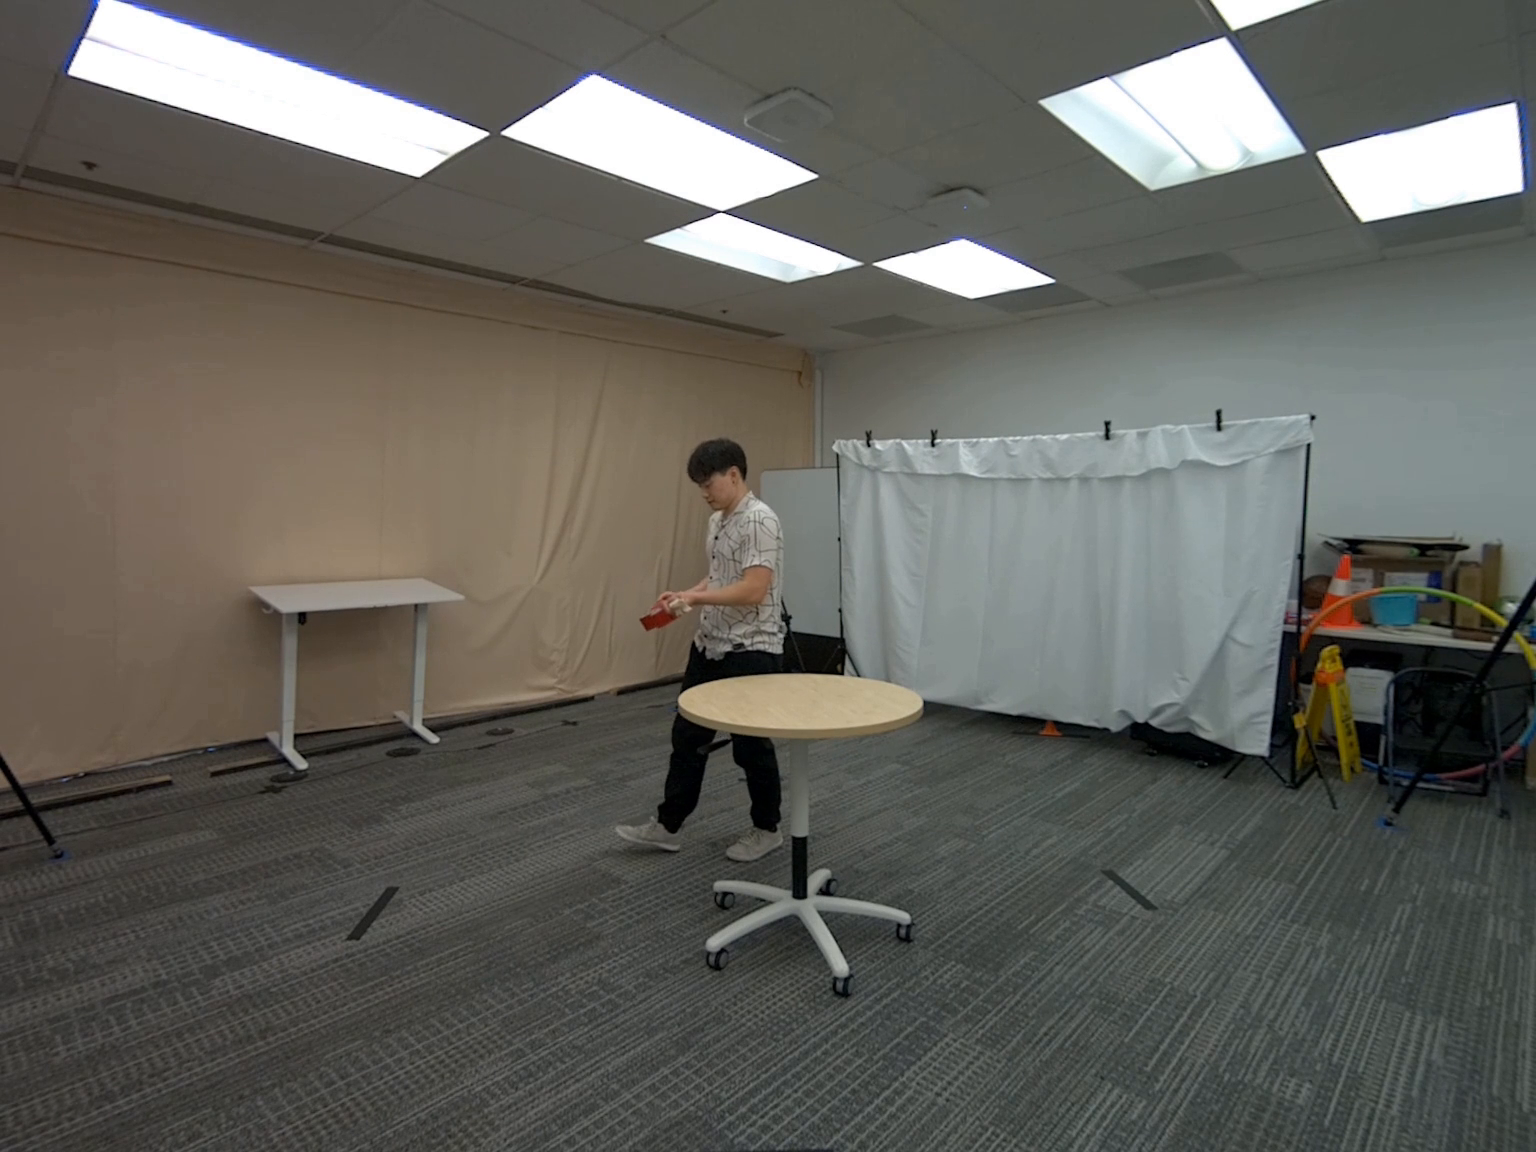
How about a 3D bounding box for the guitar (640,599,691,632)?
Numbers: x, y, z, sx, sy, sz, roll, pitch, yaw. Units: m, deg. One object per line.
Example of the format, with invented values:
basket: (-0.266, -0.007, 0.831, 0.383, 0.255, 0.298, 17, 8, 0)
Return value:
guitar: (-0.395, 0.149, 3.158, 0.192, 0.070, 0.502, -34, 7, -6)
